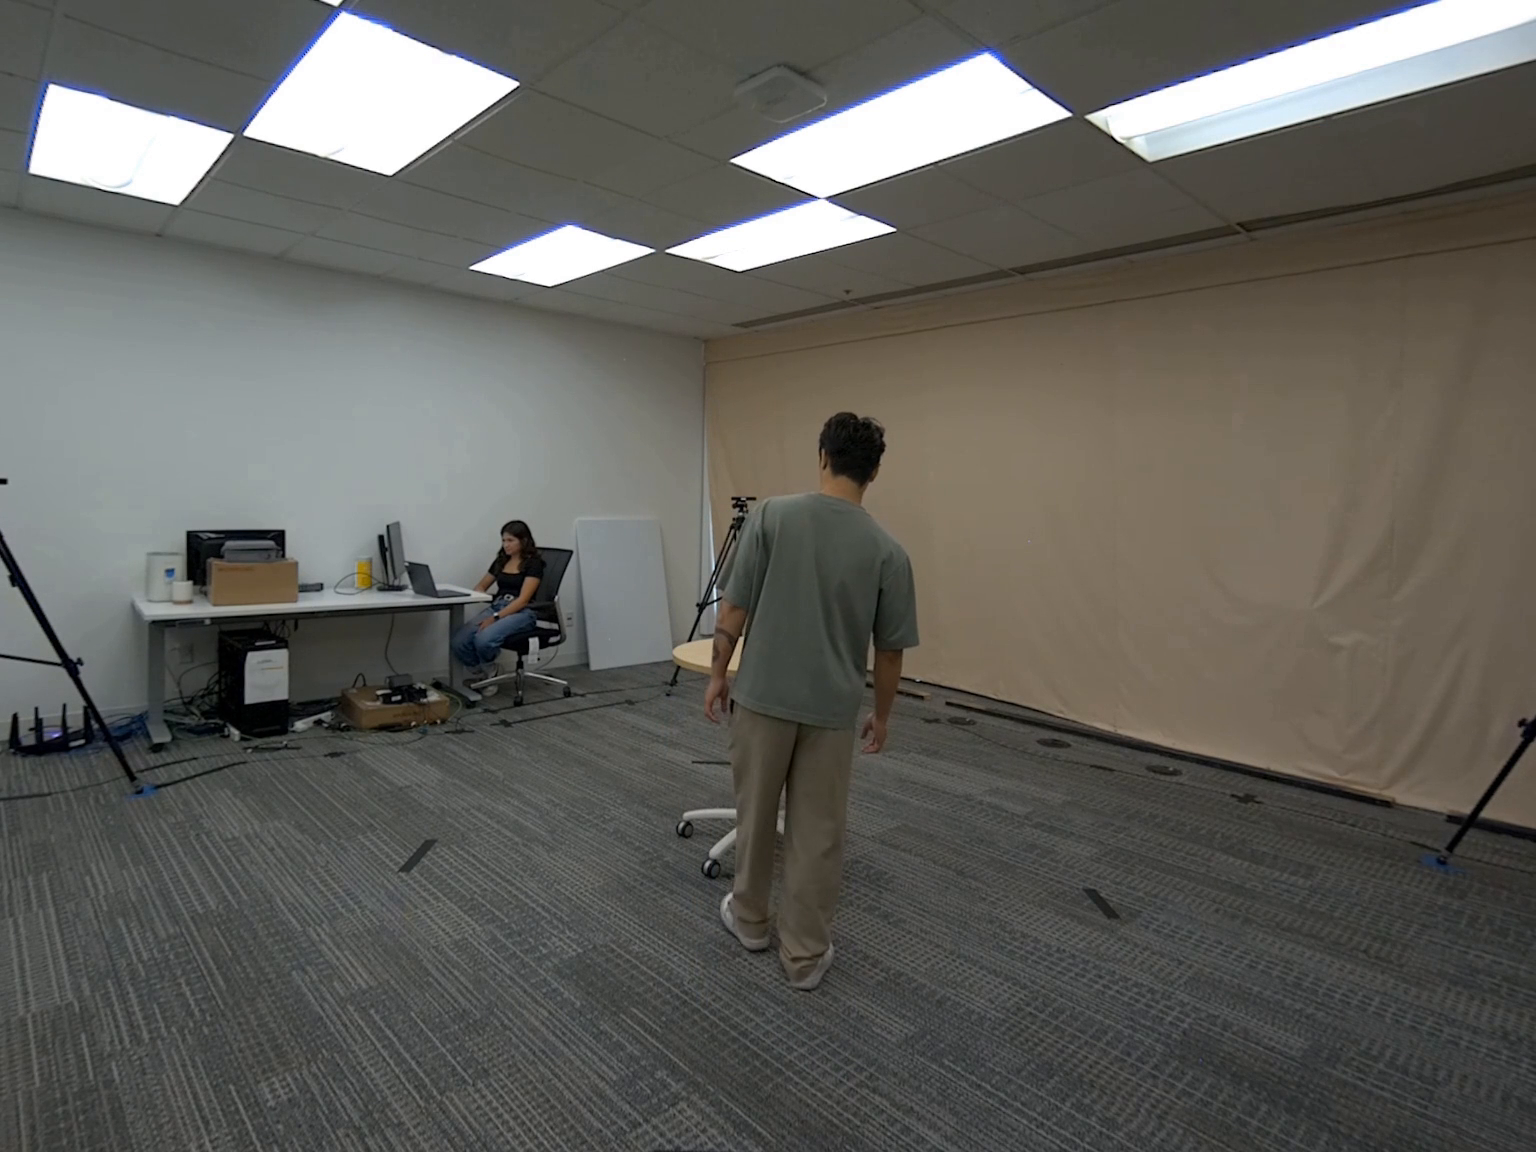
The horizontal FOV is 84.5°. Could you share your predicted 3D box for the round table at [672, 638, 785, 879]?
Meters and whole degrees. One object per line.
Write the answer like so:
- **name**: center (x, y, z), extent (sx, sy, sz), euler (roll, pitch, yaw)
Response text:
- **round table**: center (-0.027, 0.695, 3.364), extent (0.784, 0.784, 0.788), euler (1, 4, -1)
